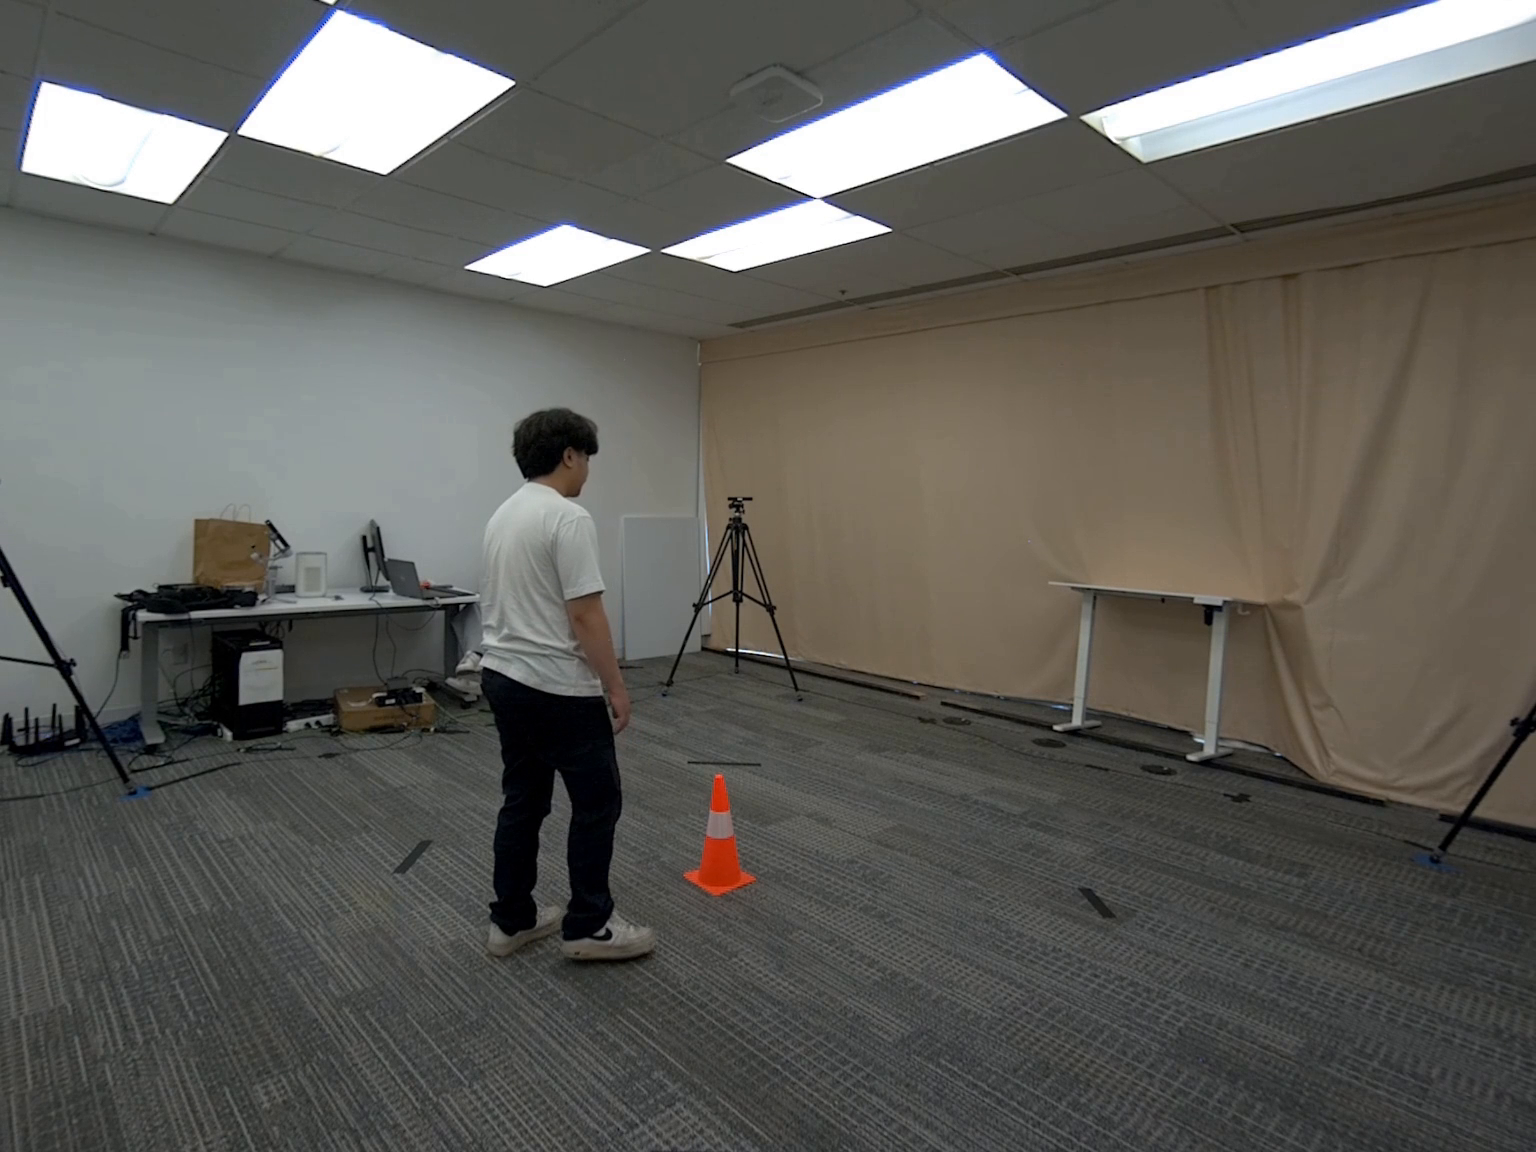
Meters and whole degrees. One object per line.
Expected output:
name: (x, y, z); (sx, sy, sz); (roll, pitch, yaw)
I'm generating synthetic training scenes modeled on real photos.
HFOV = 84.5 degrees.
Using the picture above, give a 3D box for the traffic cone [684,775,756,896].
traffic cone: (-0.184, 0.926, 3.079); (0.210, 0.383, 0.199); (3, 4, 42)
